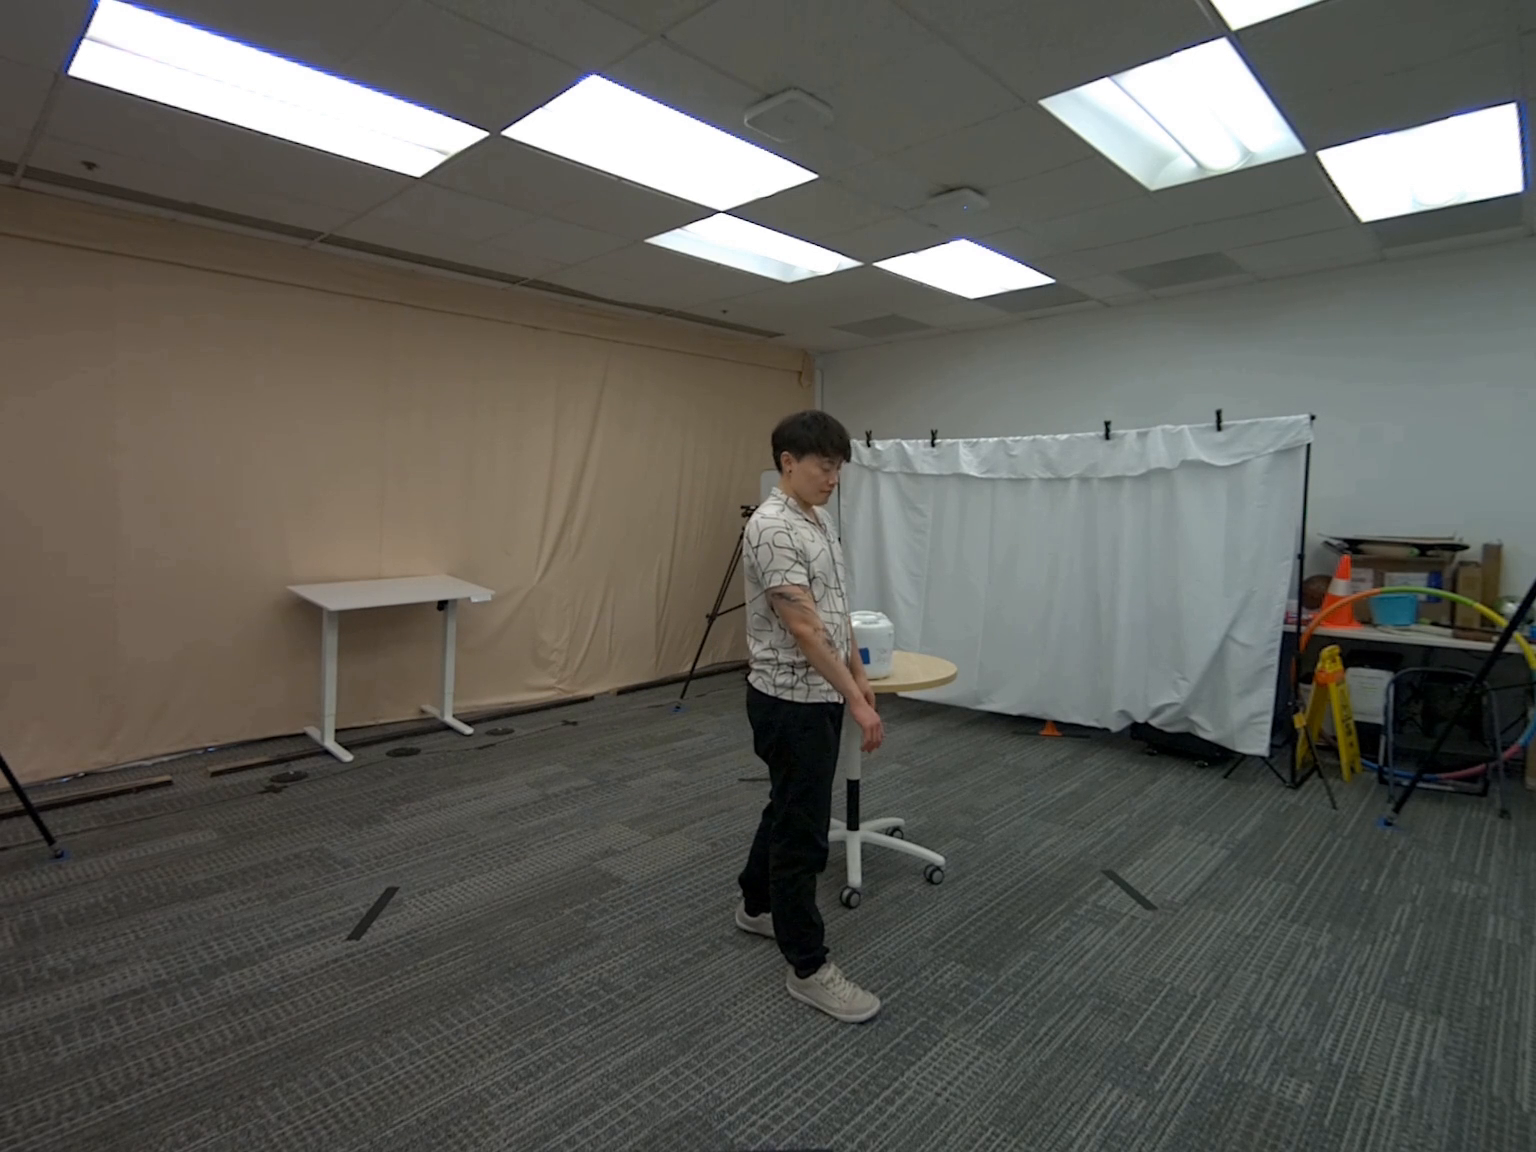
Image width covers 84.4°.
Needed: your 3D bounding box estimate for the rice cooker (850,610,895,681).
[{"bbox_3d":[0.343,0.239,3.006,0.220,0.232,0.219,0,3,-4],"label":"rice cooker"}]
